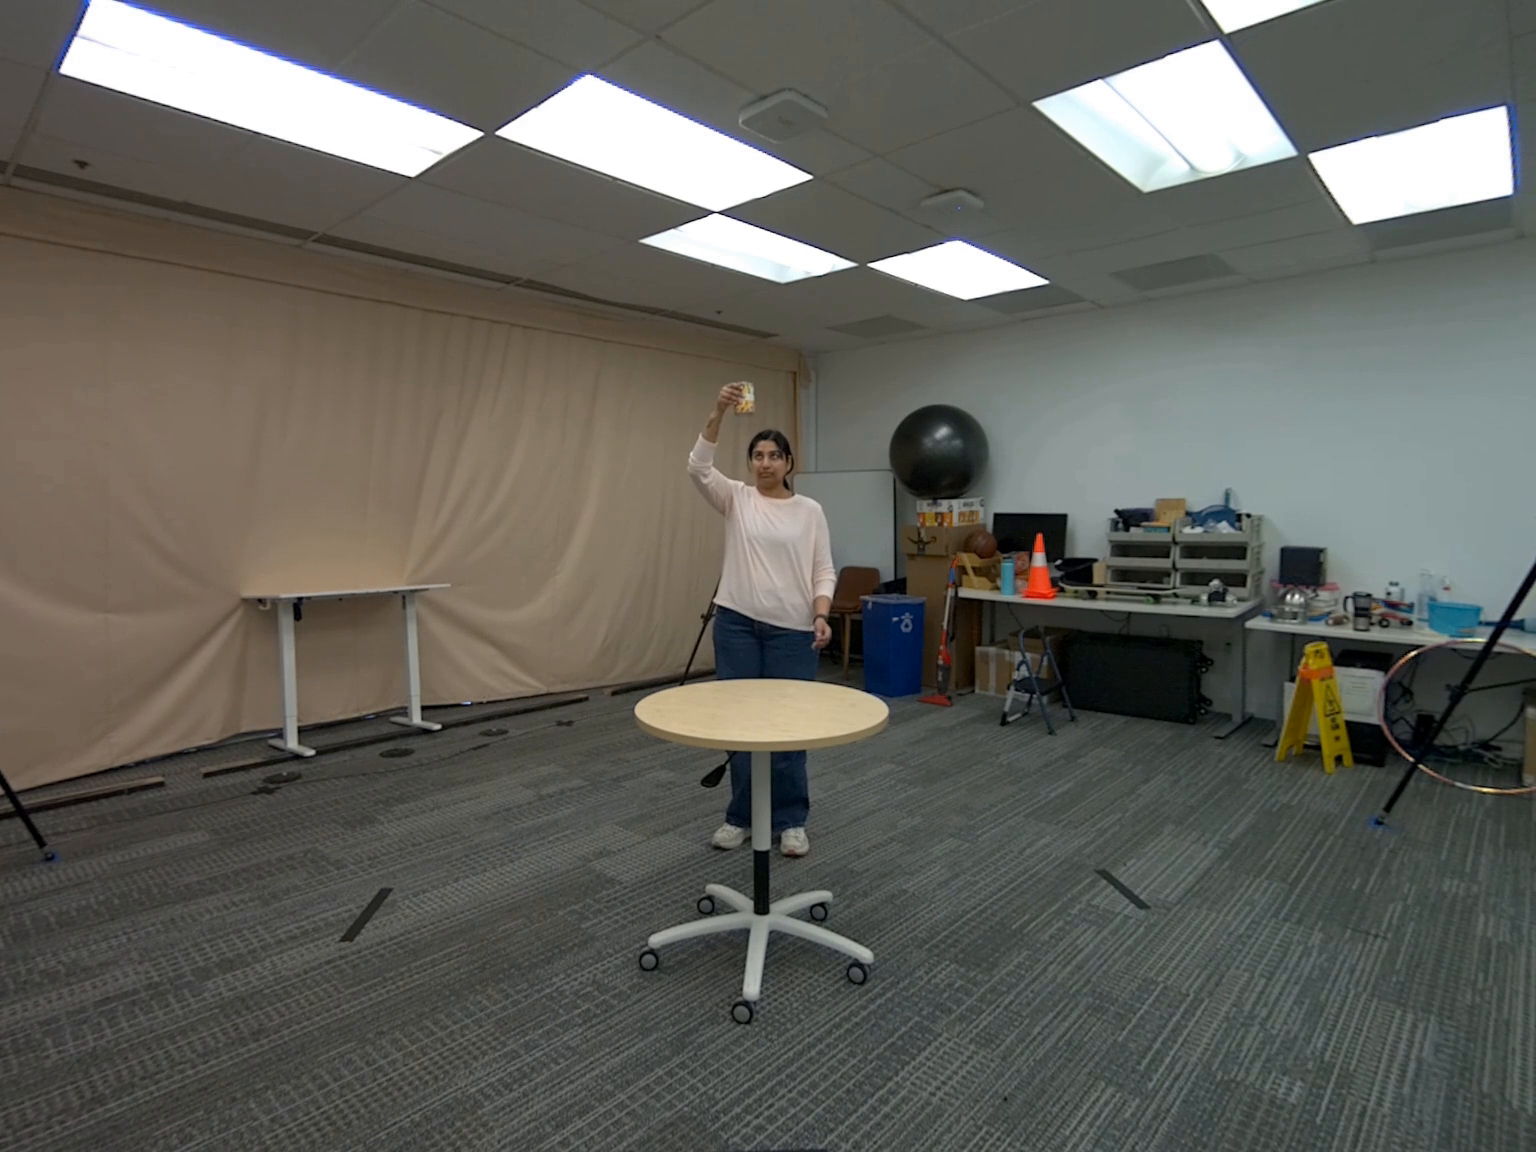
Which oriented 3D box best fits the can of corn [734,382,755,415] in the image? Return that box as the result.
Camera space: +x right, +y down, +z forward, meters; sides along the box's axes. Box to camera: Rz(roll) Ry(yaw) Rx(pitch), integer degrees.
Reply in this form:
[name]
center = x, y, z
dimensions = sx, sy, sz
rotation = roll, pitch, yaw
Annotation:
[can of corn]
center = -0.081, -0.646, 3.084
dimensions = 0.074, 0.111, 0.074
rotation = -1, 0, -2
